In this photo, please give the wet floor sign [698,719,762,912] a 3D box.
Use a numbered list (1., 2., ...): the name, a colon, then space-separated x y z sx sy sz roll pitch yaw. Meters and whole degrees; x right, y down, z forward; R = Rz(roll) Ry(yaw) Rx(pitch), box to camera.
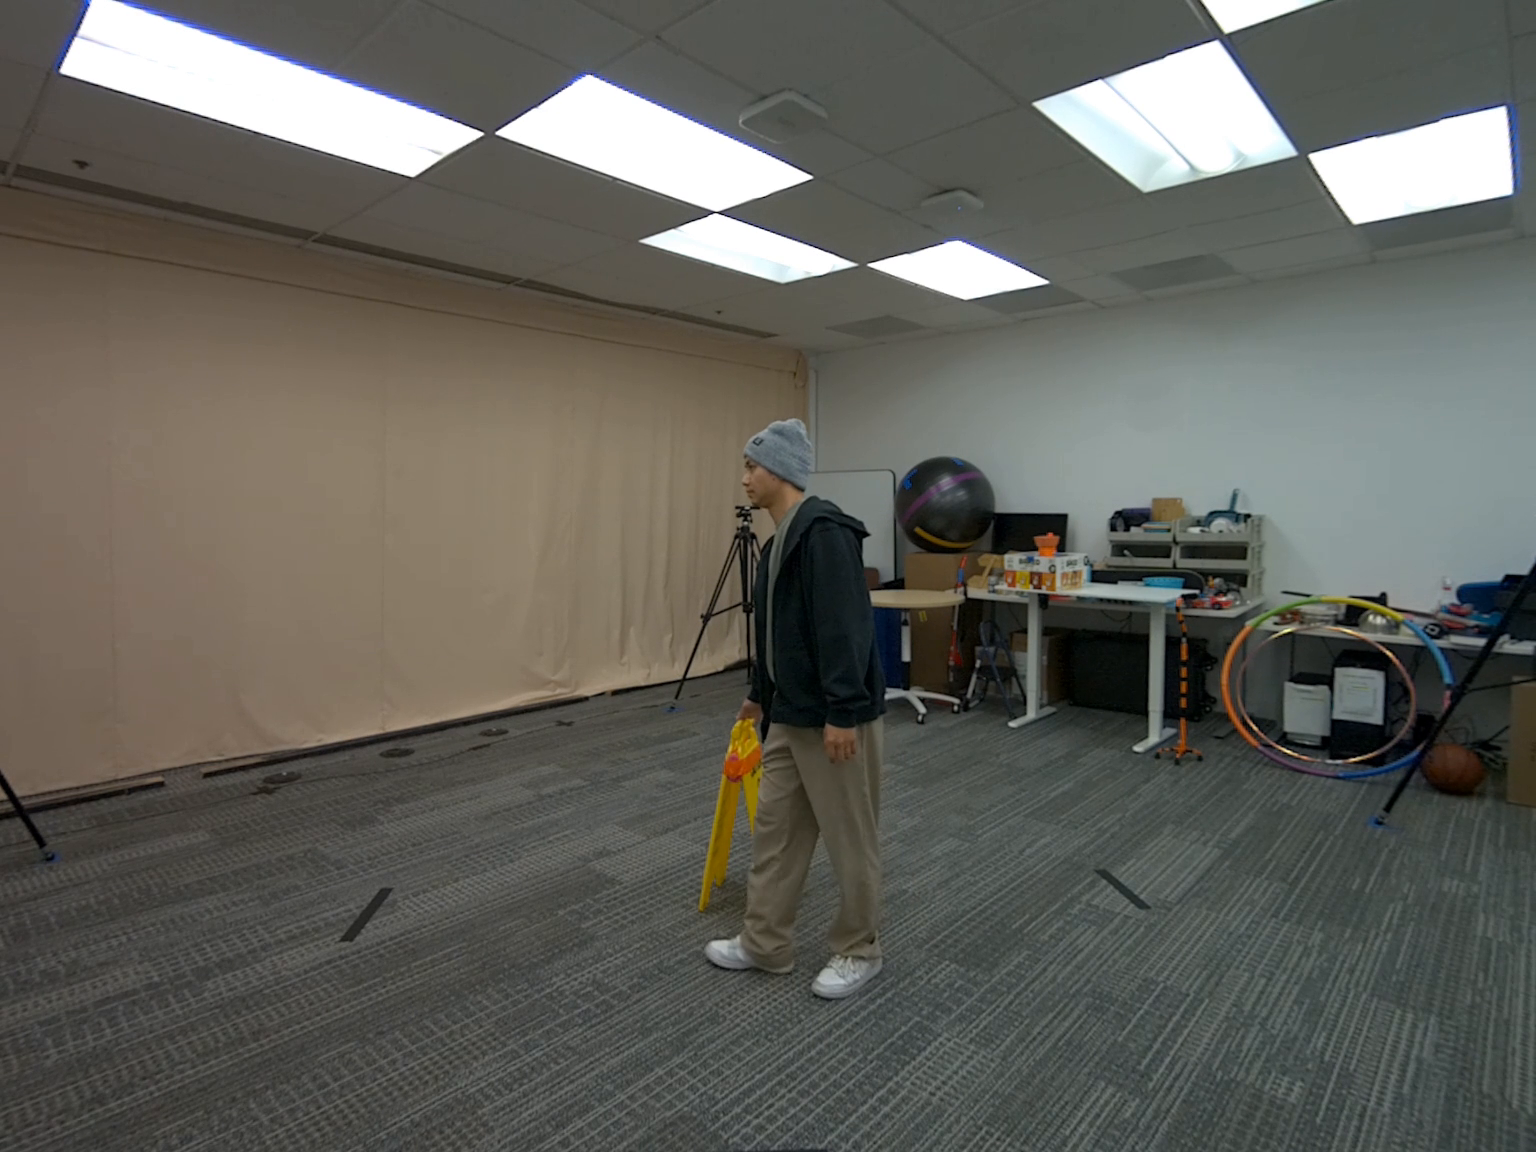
1. wet floor sign: -0.083 0.819 2.967 0.295 0.645 0.278 0 1 15
